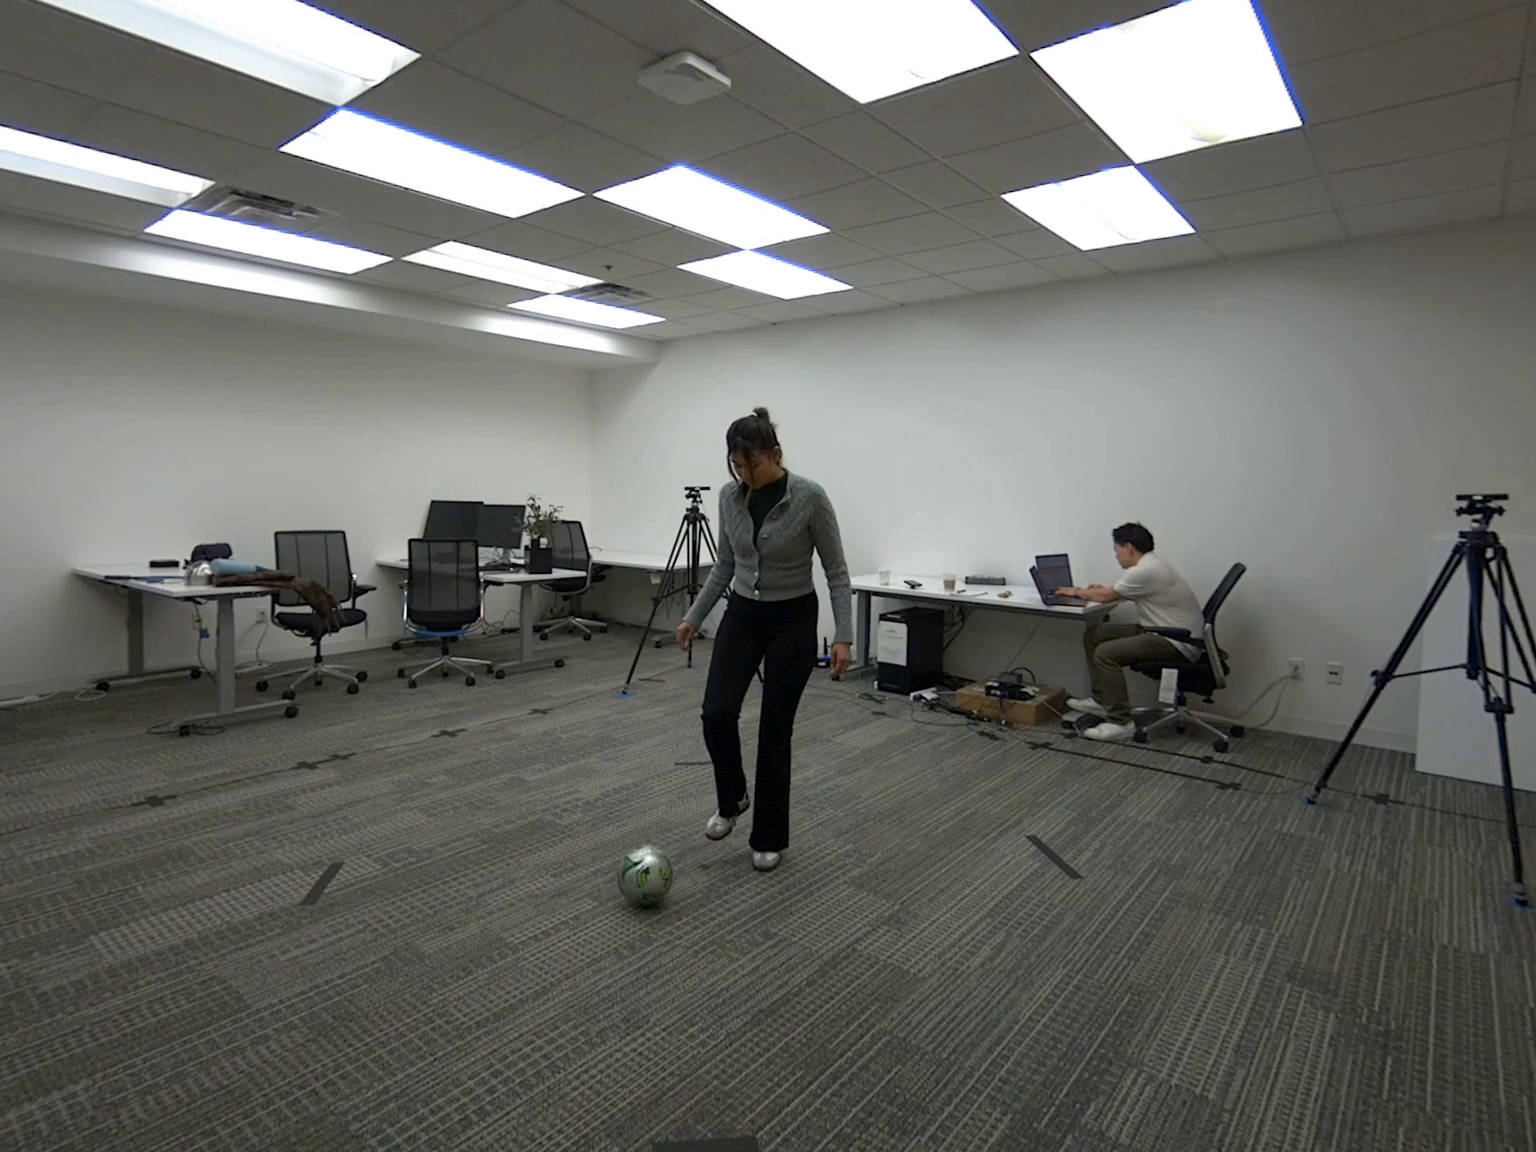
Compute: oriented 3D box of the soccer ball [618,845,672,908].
[{"bbox_3d":[-0.416,0.993,2.827,0.187,0.187,0.188,1,4,-2],"label":"soccer ball"}]
